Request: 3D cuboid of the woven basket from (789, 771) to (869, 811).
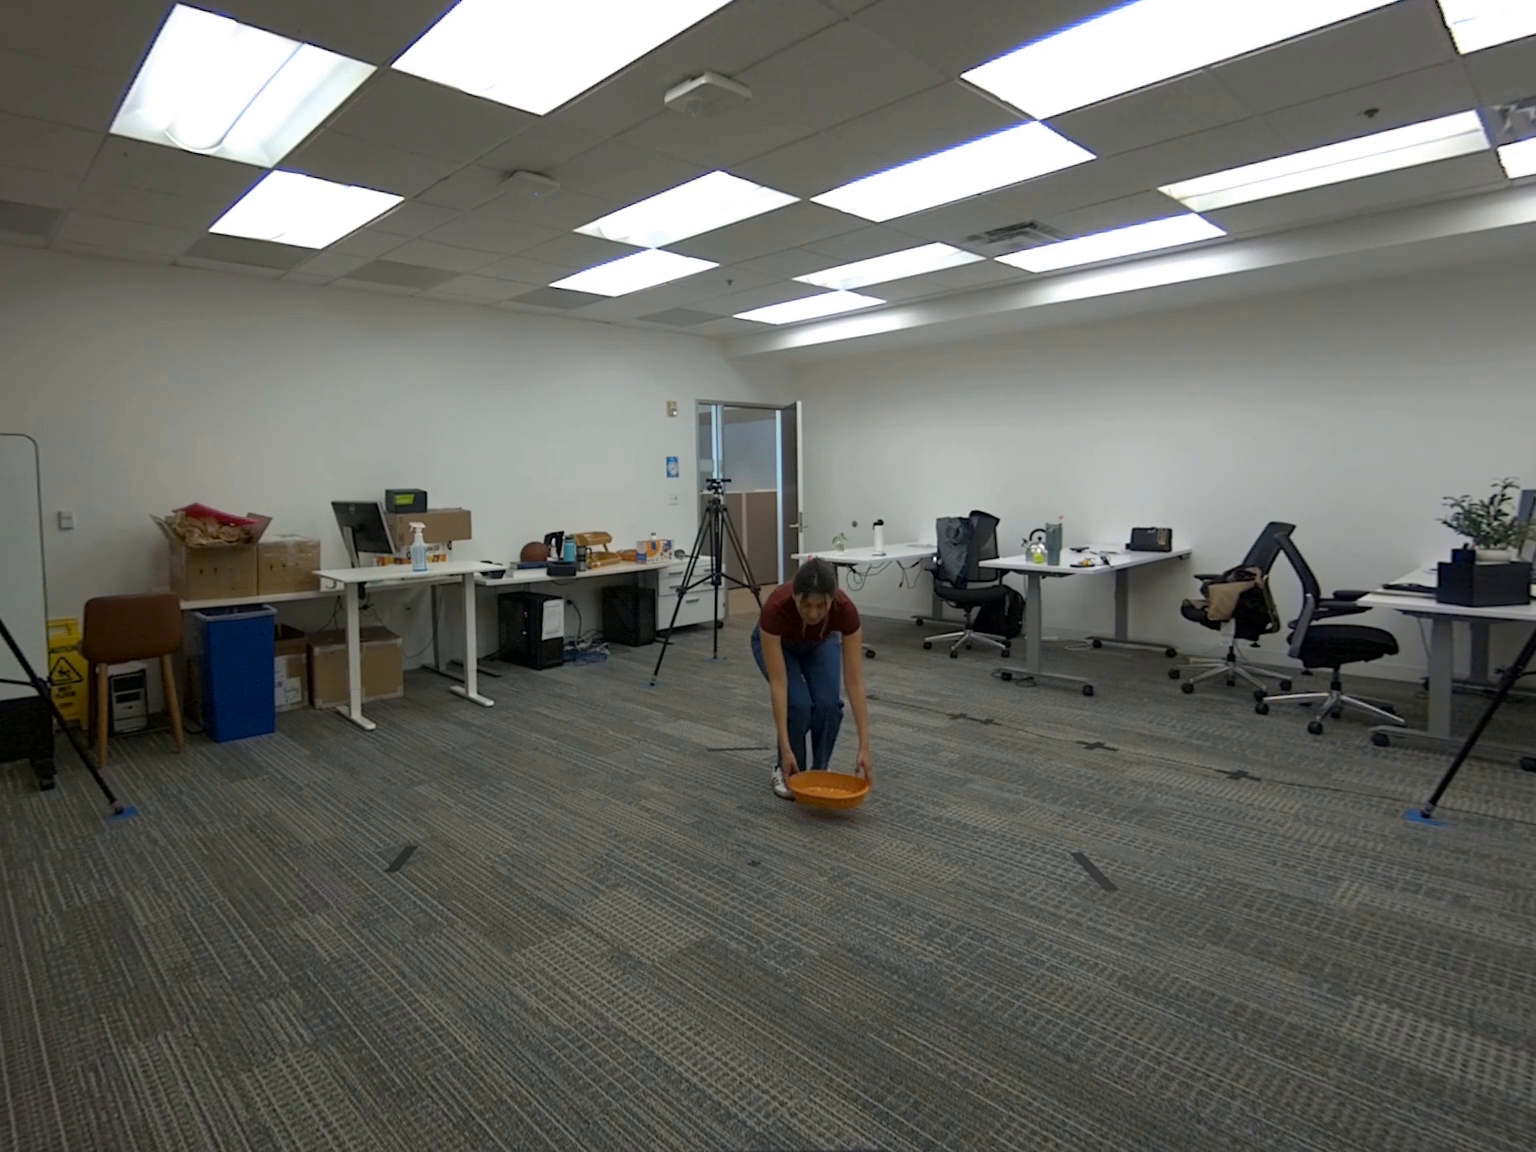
[{"bbox_3d":[0.243,0.877,3.523,0.359,0.073,0.247,1,8,30],"label":"woven basket"}]
